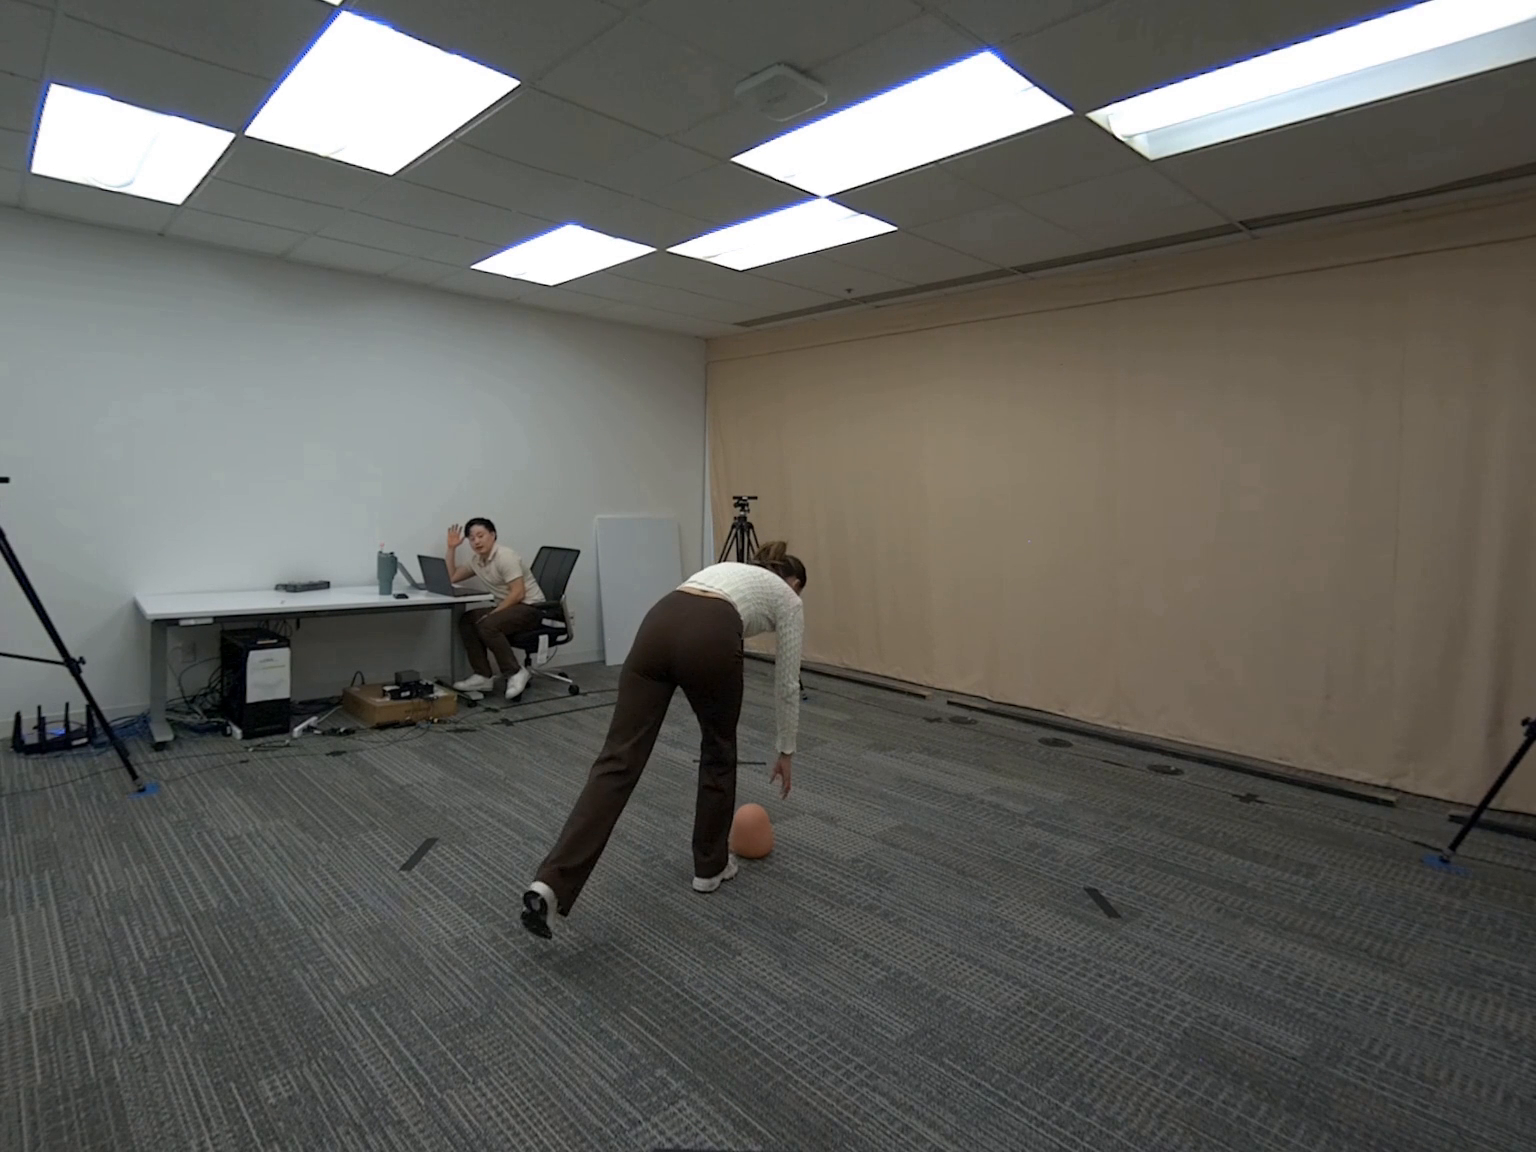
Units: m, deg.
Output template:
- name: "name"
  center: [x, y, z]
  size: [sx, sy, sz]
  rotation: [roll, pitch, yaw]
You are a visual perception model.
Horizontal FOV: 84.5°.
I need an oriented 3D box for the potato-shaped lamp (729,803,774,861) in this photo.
- name: "potato-shaped lamp"
  center: [-0.072, 0.991, 3.290]
  size: [0.168, 0.197, 0.168]
  rotation: [5, 5, 27]
